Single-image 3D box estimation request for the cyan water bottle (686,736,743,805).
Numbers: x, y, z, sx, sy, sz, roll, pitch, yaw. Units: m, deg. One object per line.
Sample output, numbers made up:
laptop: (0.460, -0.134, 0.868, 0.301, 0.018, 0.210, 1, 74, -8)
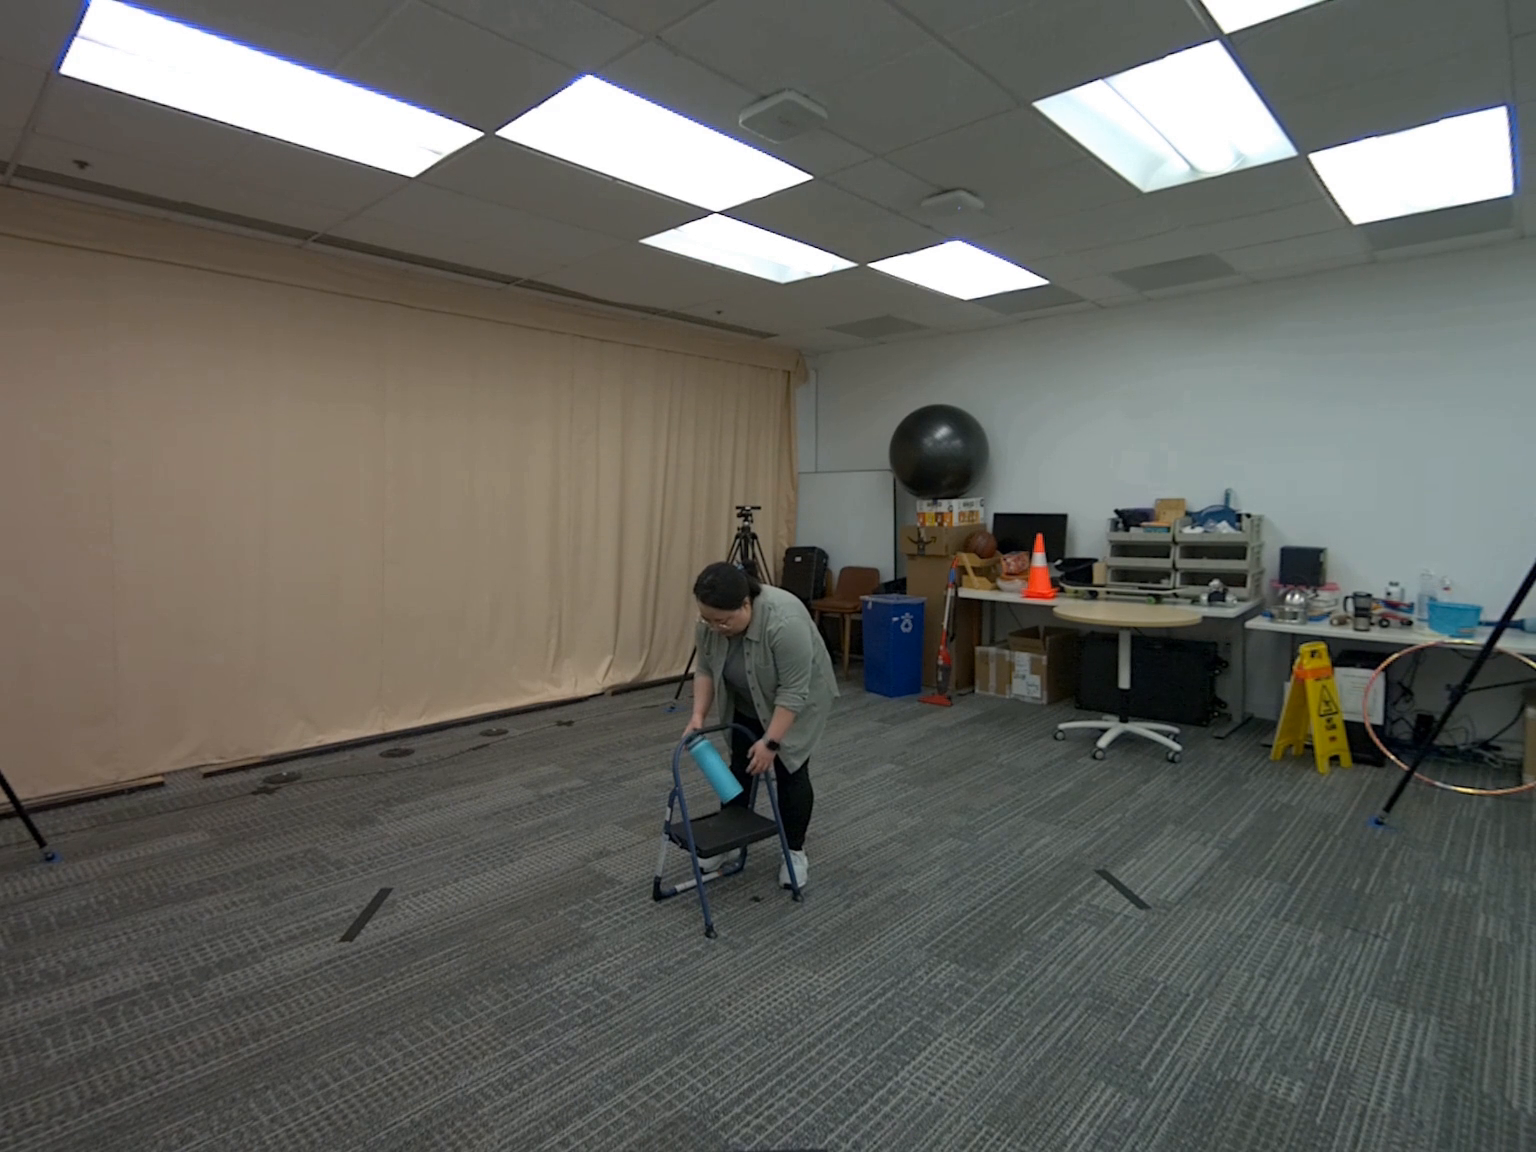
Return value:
cyan water bottle: (-0.196, 0.696, 3.088, 0.092, 0.288, 0.091, -33, -14, -10)
